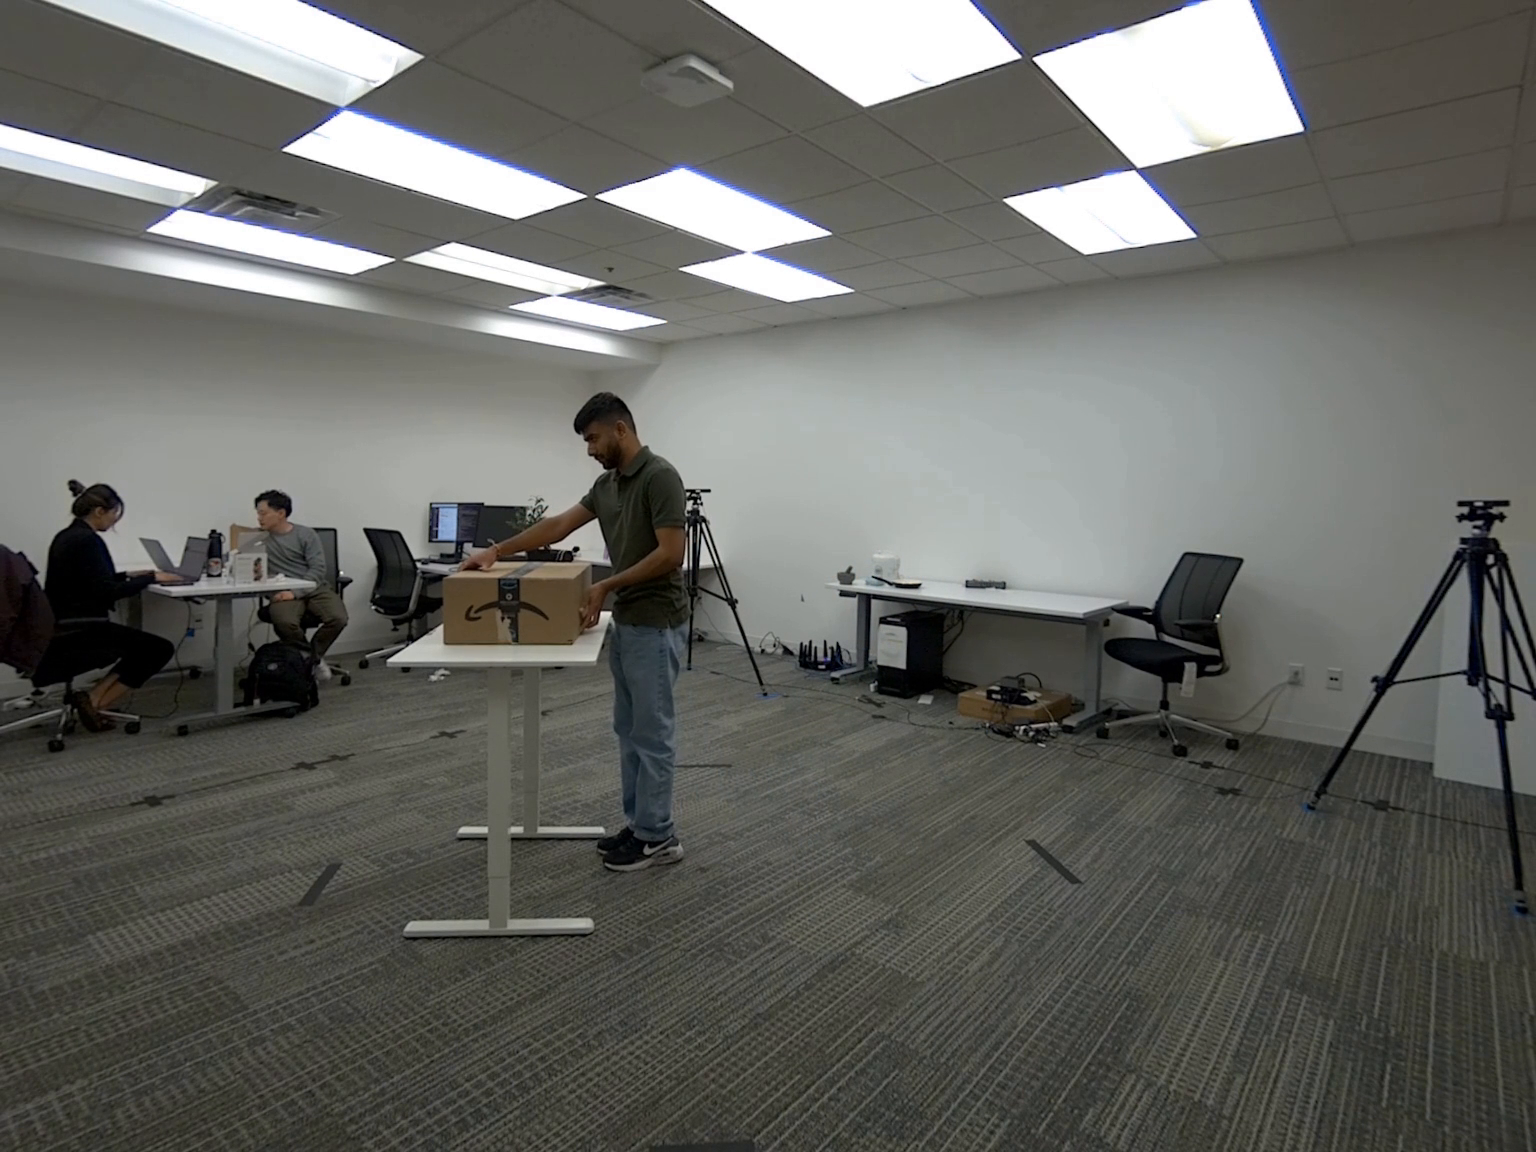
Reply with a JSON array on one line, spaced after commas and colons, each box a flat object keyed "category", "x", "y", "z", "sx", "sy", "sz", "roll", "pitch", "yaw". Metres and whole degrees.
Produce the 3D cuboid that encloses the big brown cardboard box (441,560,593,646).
[{"category": "big brown cardboard box", "x": -0.869, "y": 0.083, "z": 3.006, "sx": 0.416, "sy": 0.232, "sz": 0.593, "roll": 0, "pitch": 5, "yaw": -4}]
